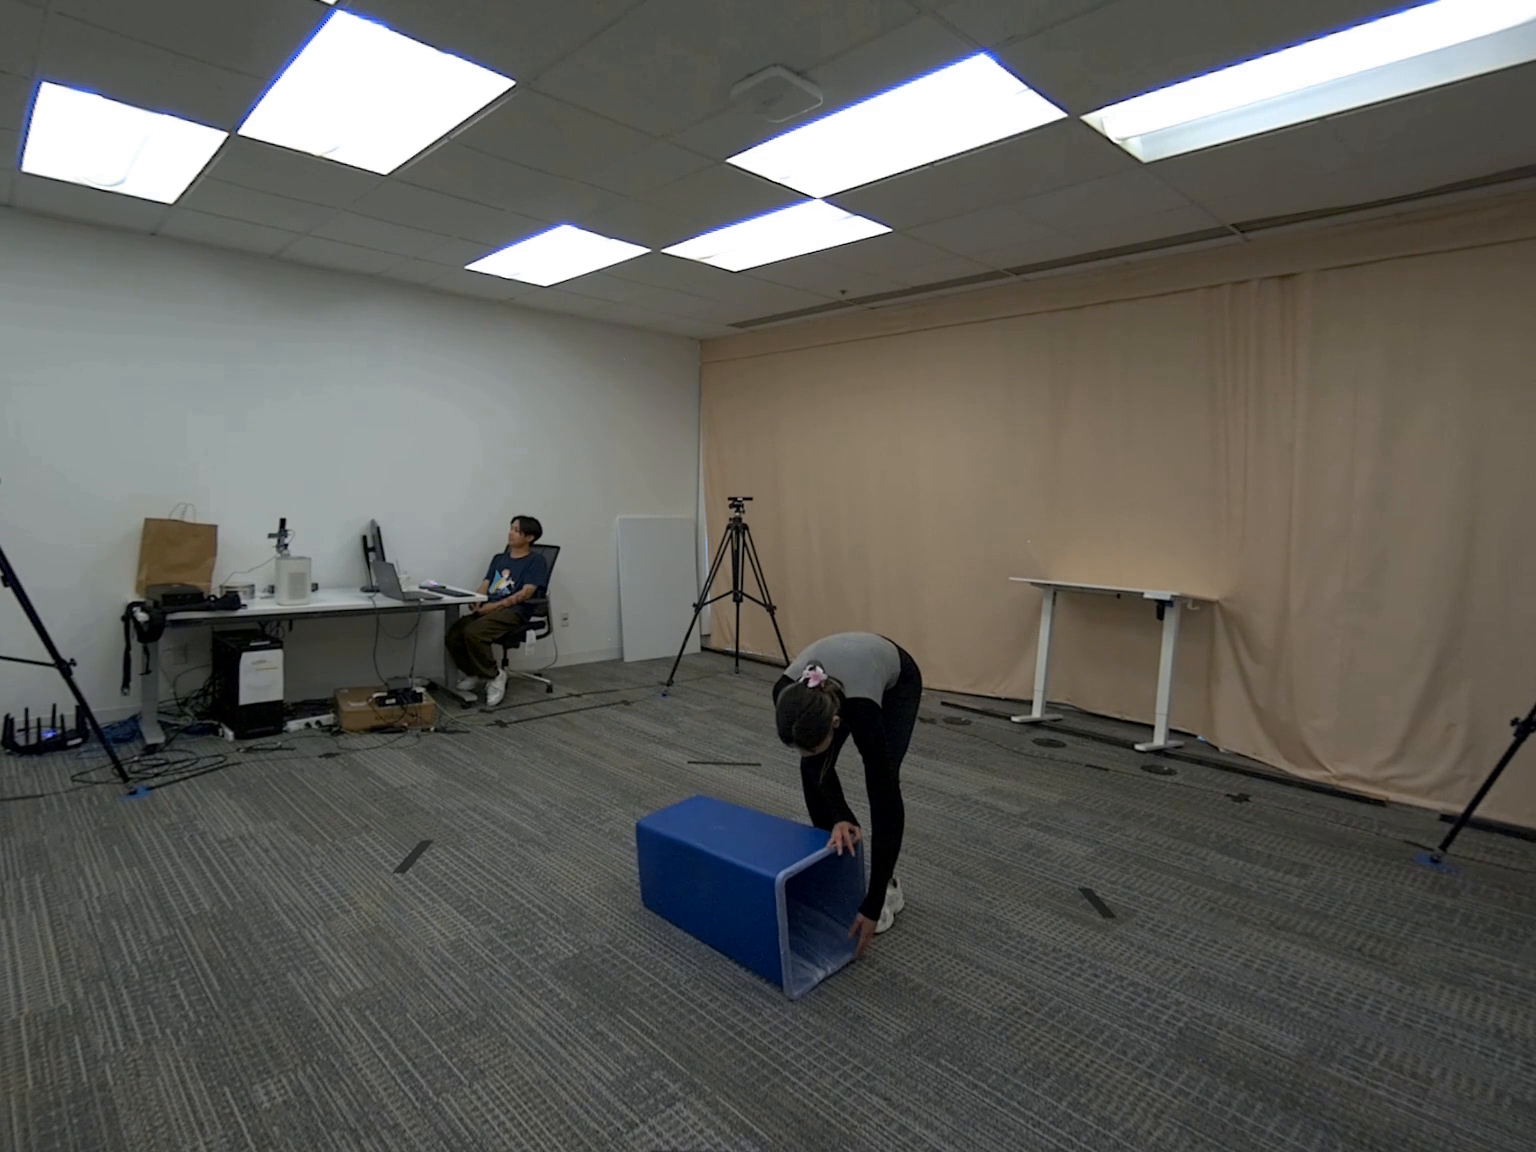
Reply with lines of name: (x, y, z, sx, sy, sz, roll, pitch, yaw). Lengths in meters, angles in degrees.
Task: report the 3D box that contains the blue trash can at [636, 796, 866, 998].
blue trash can: (-0.094, 0.963, 2.685, 0.371, 0.372, 0.731, -11, 9, -44)
